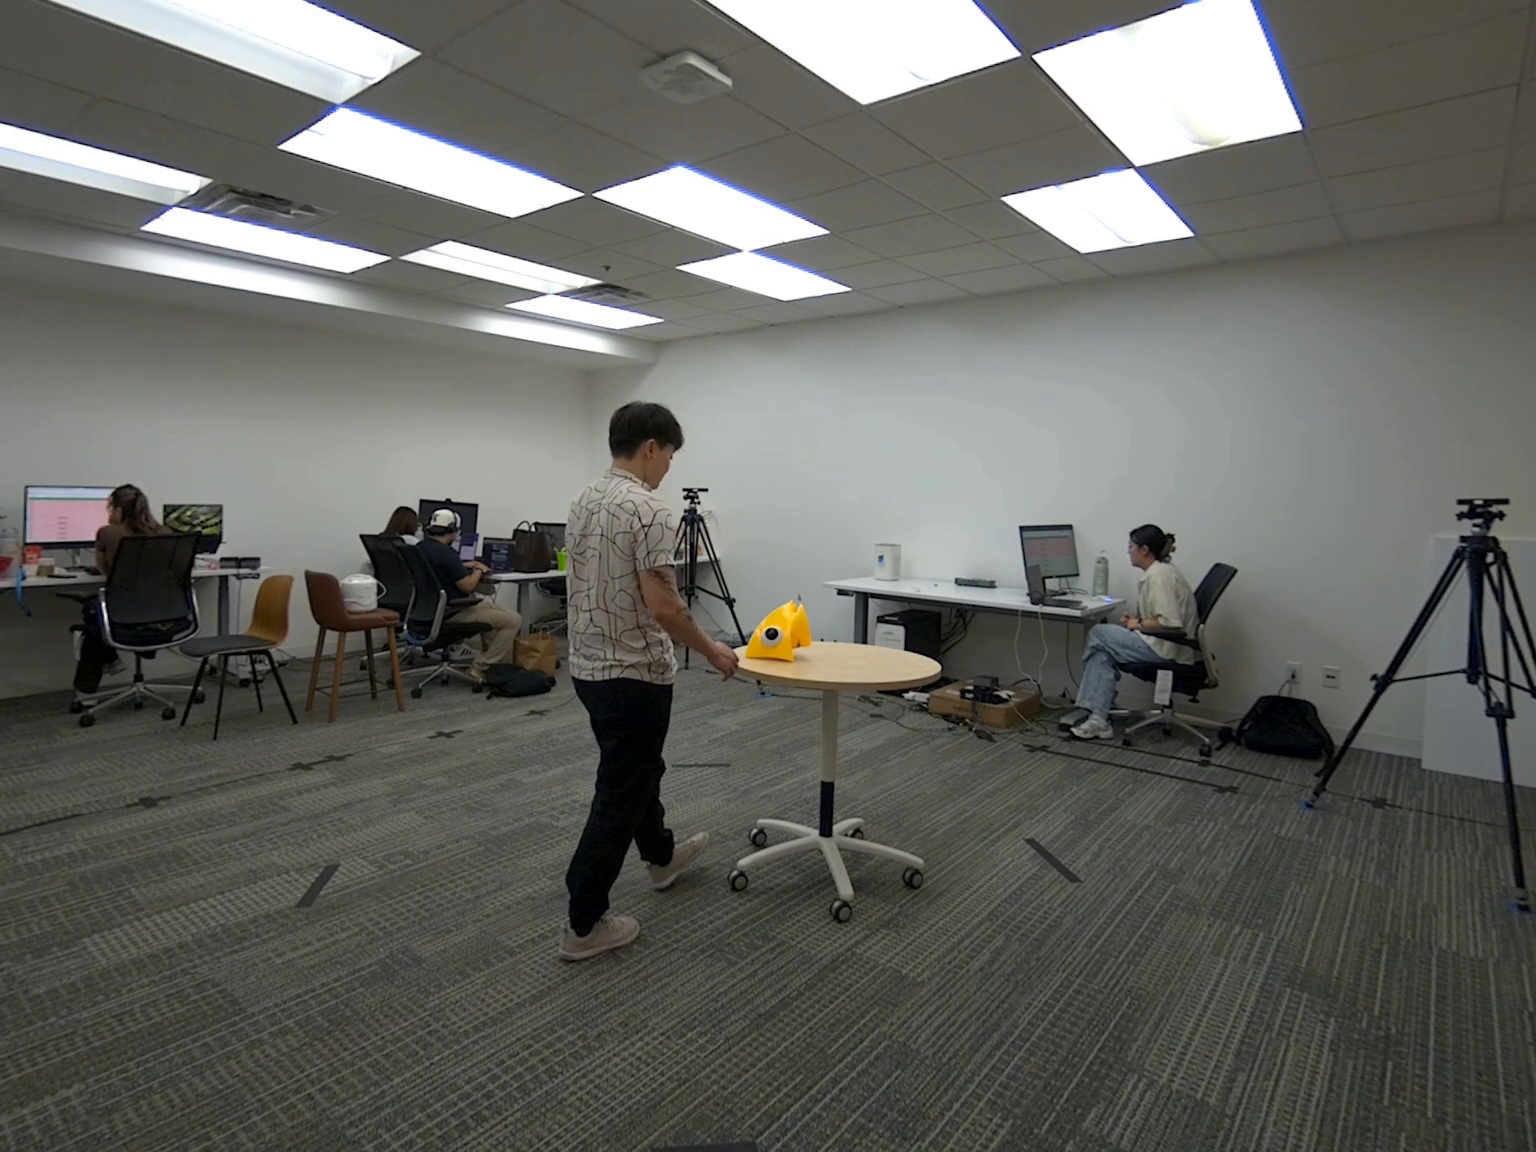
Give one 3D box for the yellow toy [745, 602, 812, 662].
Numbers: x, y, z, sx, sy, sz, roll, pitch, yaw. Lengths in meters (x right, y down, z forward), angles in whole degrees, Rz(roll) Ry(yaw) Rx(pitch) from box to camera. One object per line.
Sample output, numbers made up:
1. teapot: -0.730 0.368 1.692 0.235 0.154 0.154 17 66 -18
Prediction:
1. yellow toy: 0.006 0.203 3.071 0.229 0.192 0.208 -12 7 -11
